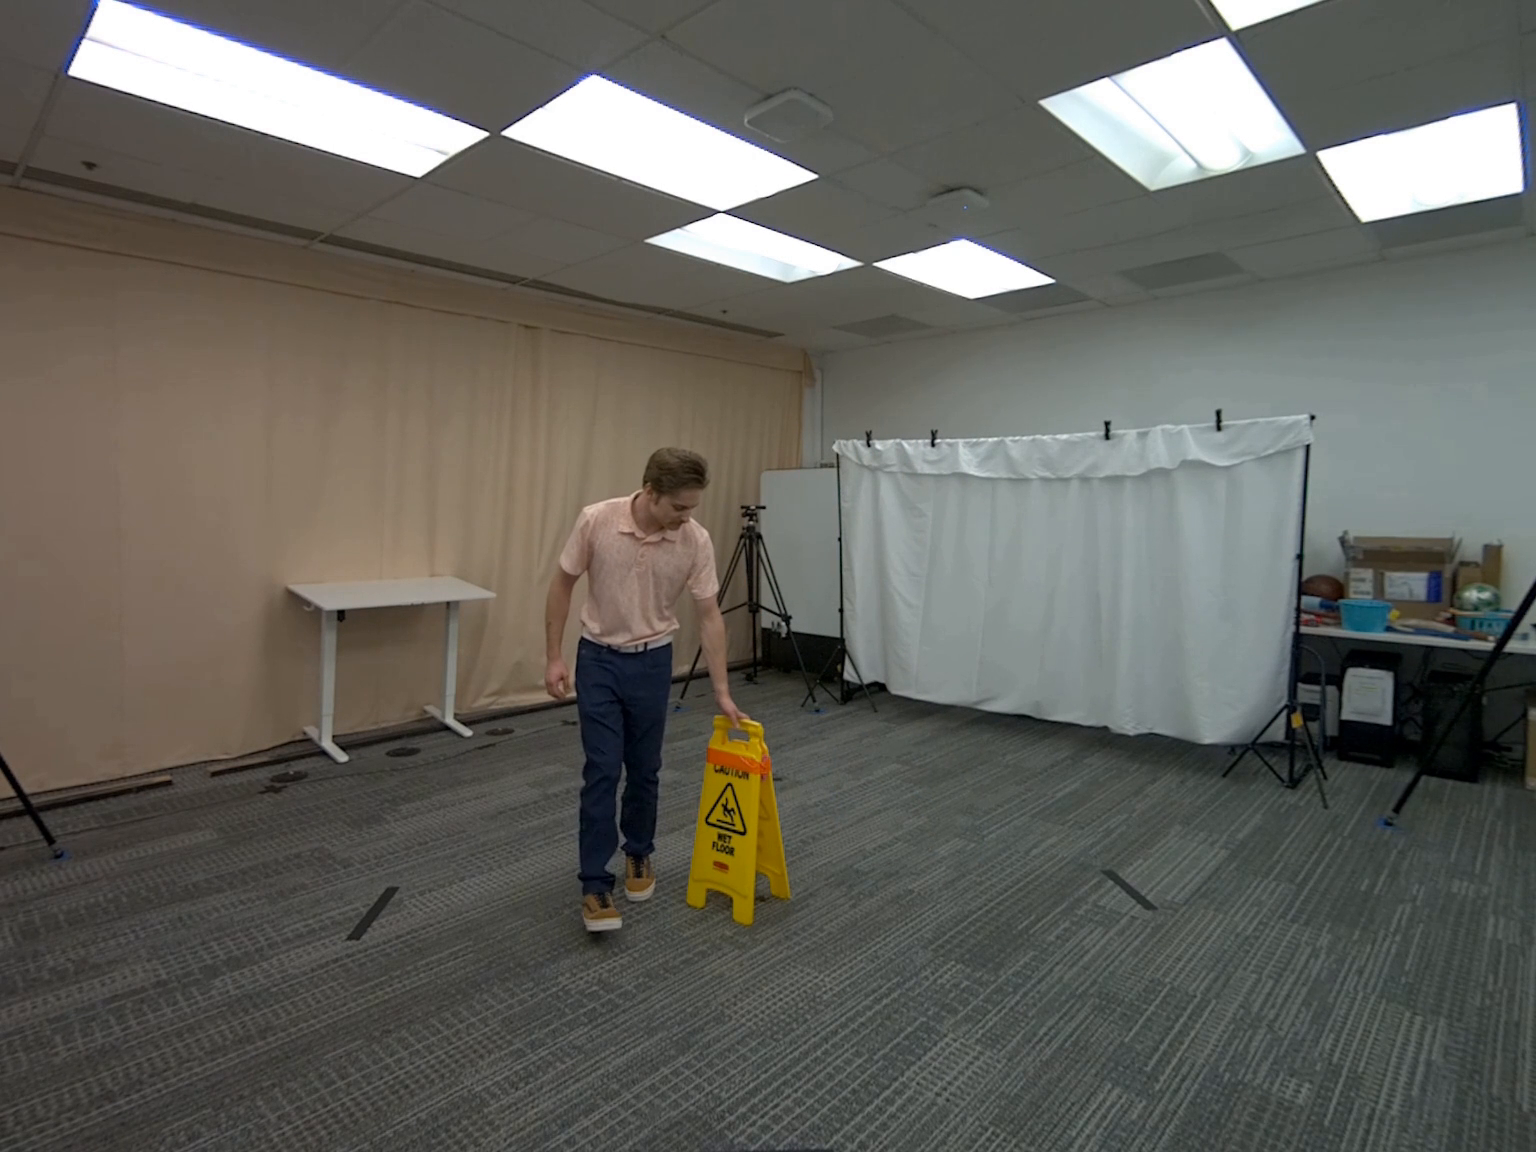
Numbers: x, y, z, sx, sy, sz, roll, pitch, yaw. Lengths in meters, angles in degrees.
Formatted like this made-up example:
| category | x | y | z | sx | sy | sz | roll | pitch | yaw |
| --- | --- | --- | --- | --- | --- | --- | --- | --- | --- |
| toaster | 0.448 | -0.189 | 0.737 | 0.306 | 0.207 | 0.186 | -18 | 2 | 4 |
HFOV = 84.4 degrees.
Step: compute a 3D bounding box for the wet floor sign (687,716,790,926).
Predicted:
| category | x | y | z | sx | sy | sz | roll | pitch | yaw |
| --- | --- | --- | --- | --- | --- | --- | --- | --- | --- |
| wet floor sign | -0.099 | 0.822 | 2.946 | 0.291 | 0.645 | 0.281 | 3 | 4 | 36 |
